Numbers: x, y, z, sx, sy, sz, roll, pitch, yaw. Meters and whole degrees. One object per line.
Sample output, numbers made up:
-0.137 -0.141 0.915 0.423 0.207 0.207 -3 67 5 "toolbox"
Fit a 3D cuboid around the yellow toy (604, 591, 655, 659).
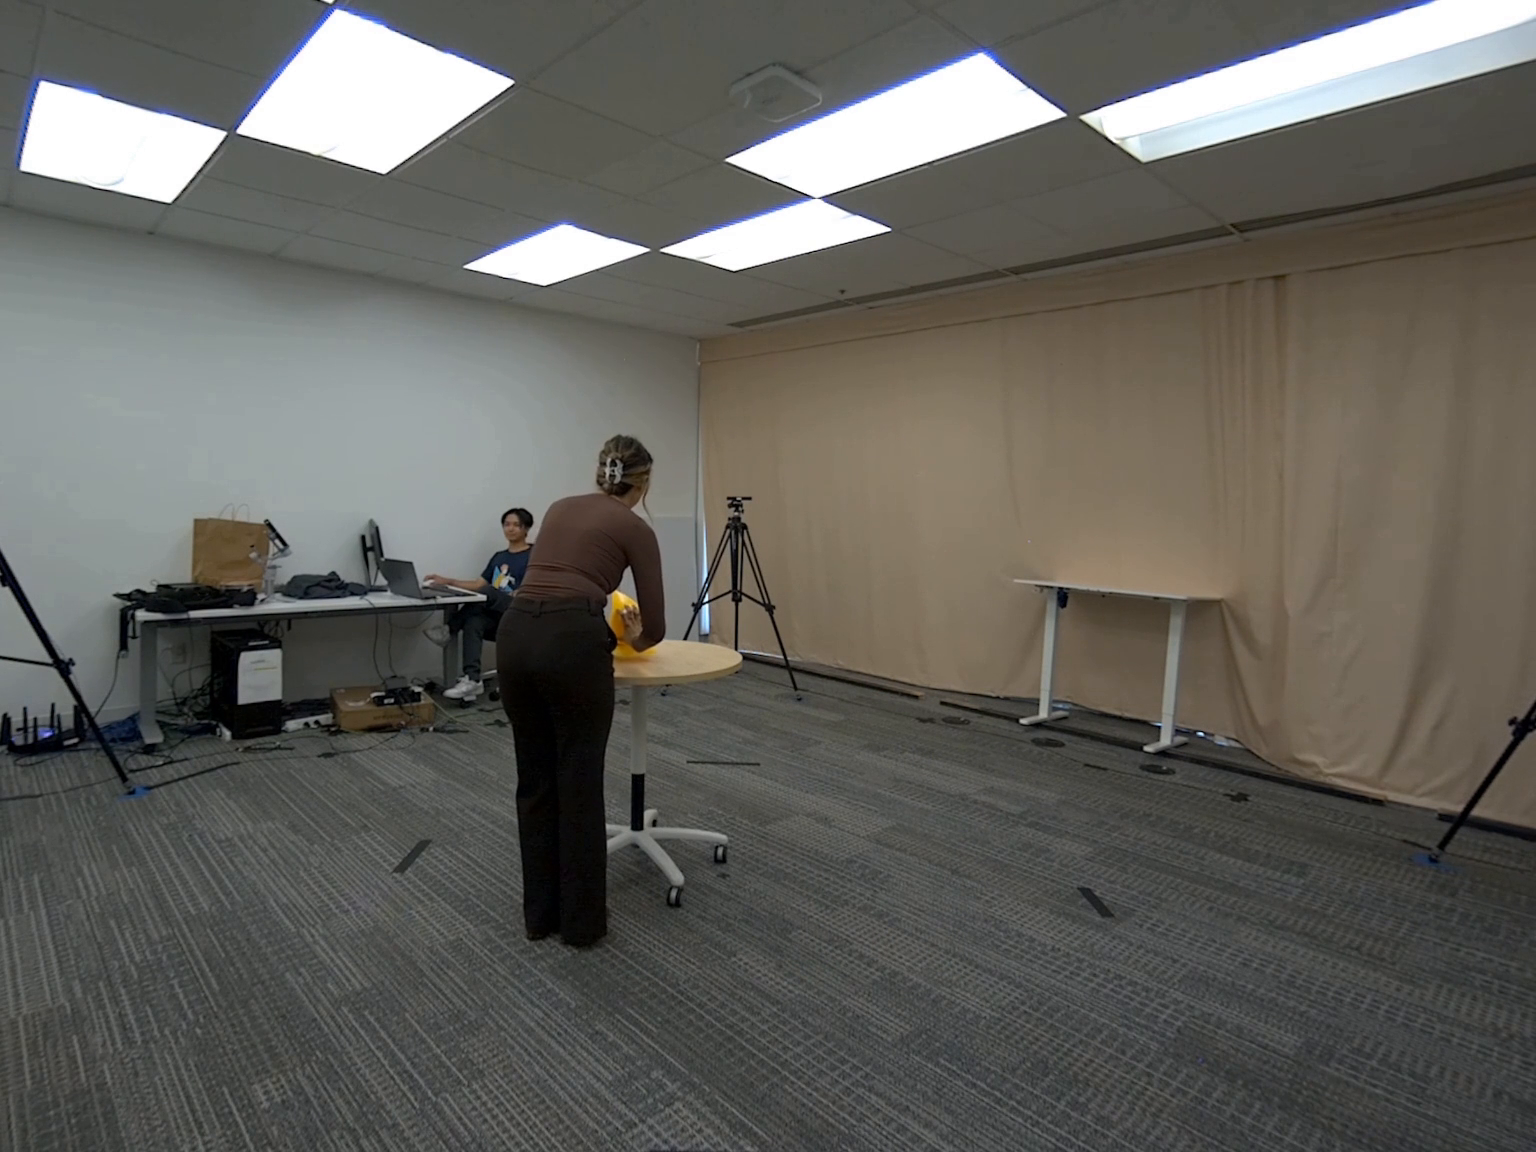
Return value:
-0.508 0.161 3.080 0.191 0.229 0.208 -4 7 -13 "yellow toy"
